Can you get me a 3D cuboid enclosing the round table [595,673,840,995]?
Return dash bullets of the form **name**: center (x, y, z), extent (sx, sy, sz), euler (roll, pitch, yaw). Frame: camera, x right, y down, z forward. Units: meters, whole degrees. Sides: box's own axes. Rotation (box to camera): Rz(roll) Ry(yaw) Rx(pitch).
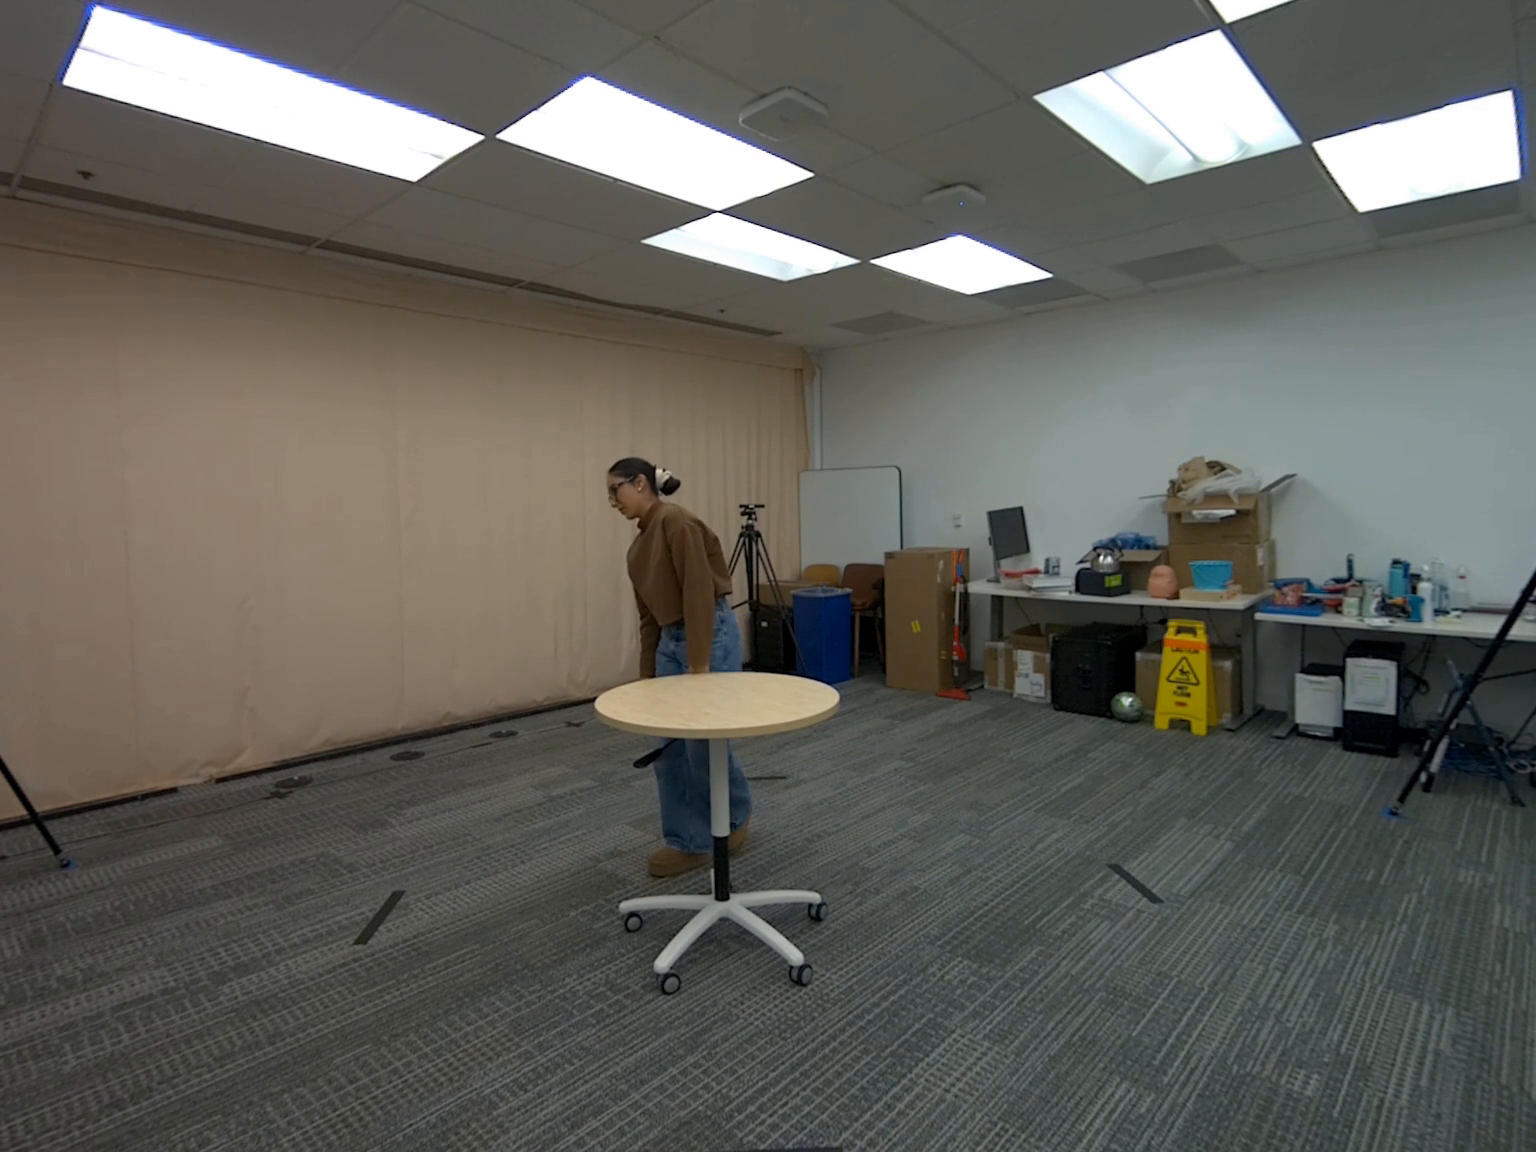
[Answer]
- **round table**: center (-0.147, 0.778, 2.670), extent (0.763, 0.792, 0.767), euler (-1, 4, -2)
